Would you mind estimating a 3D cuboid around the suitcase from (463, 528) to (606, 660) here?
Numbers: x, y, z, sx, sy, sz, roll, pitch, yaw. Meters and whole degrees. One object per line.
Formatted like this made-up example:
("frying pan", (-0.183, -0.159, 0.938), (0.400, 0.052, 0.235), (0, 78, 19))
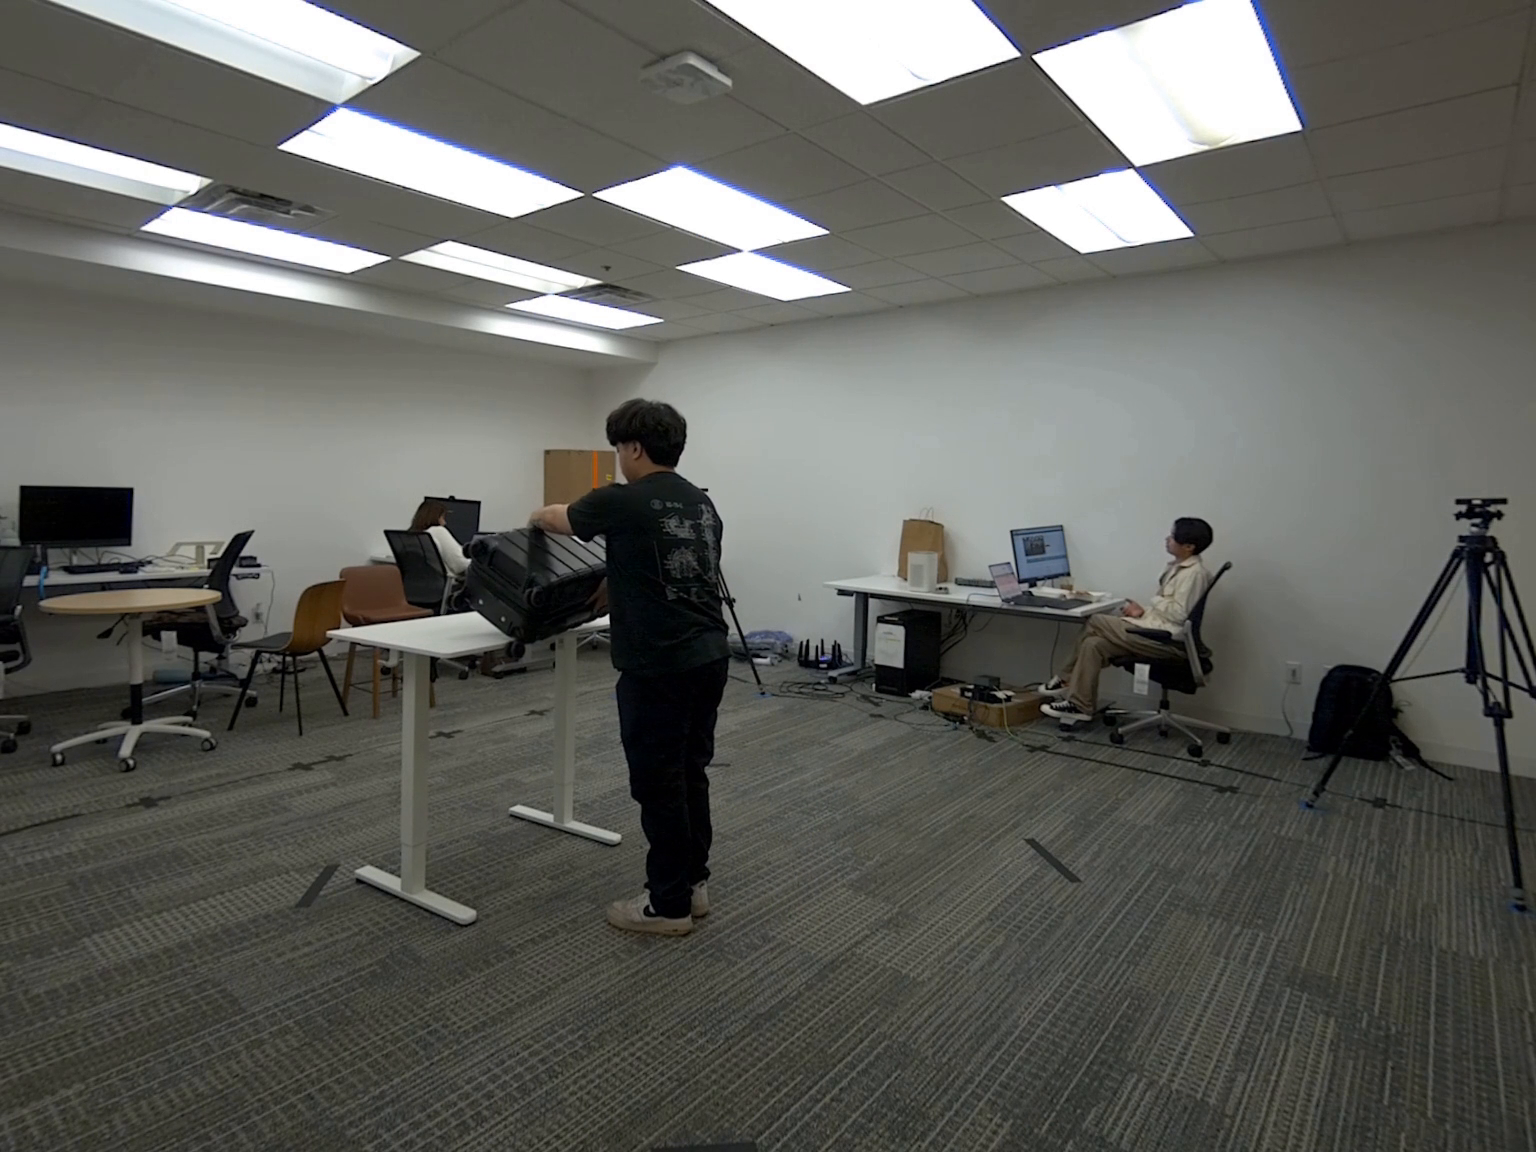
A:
("suitcase", (-0.787, 0.011, 2.956), (0.386, 0.246, 0.539), (31, 24, 20))
